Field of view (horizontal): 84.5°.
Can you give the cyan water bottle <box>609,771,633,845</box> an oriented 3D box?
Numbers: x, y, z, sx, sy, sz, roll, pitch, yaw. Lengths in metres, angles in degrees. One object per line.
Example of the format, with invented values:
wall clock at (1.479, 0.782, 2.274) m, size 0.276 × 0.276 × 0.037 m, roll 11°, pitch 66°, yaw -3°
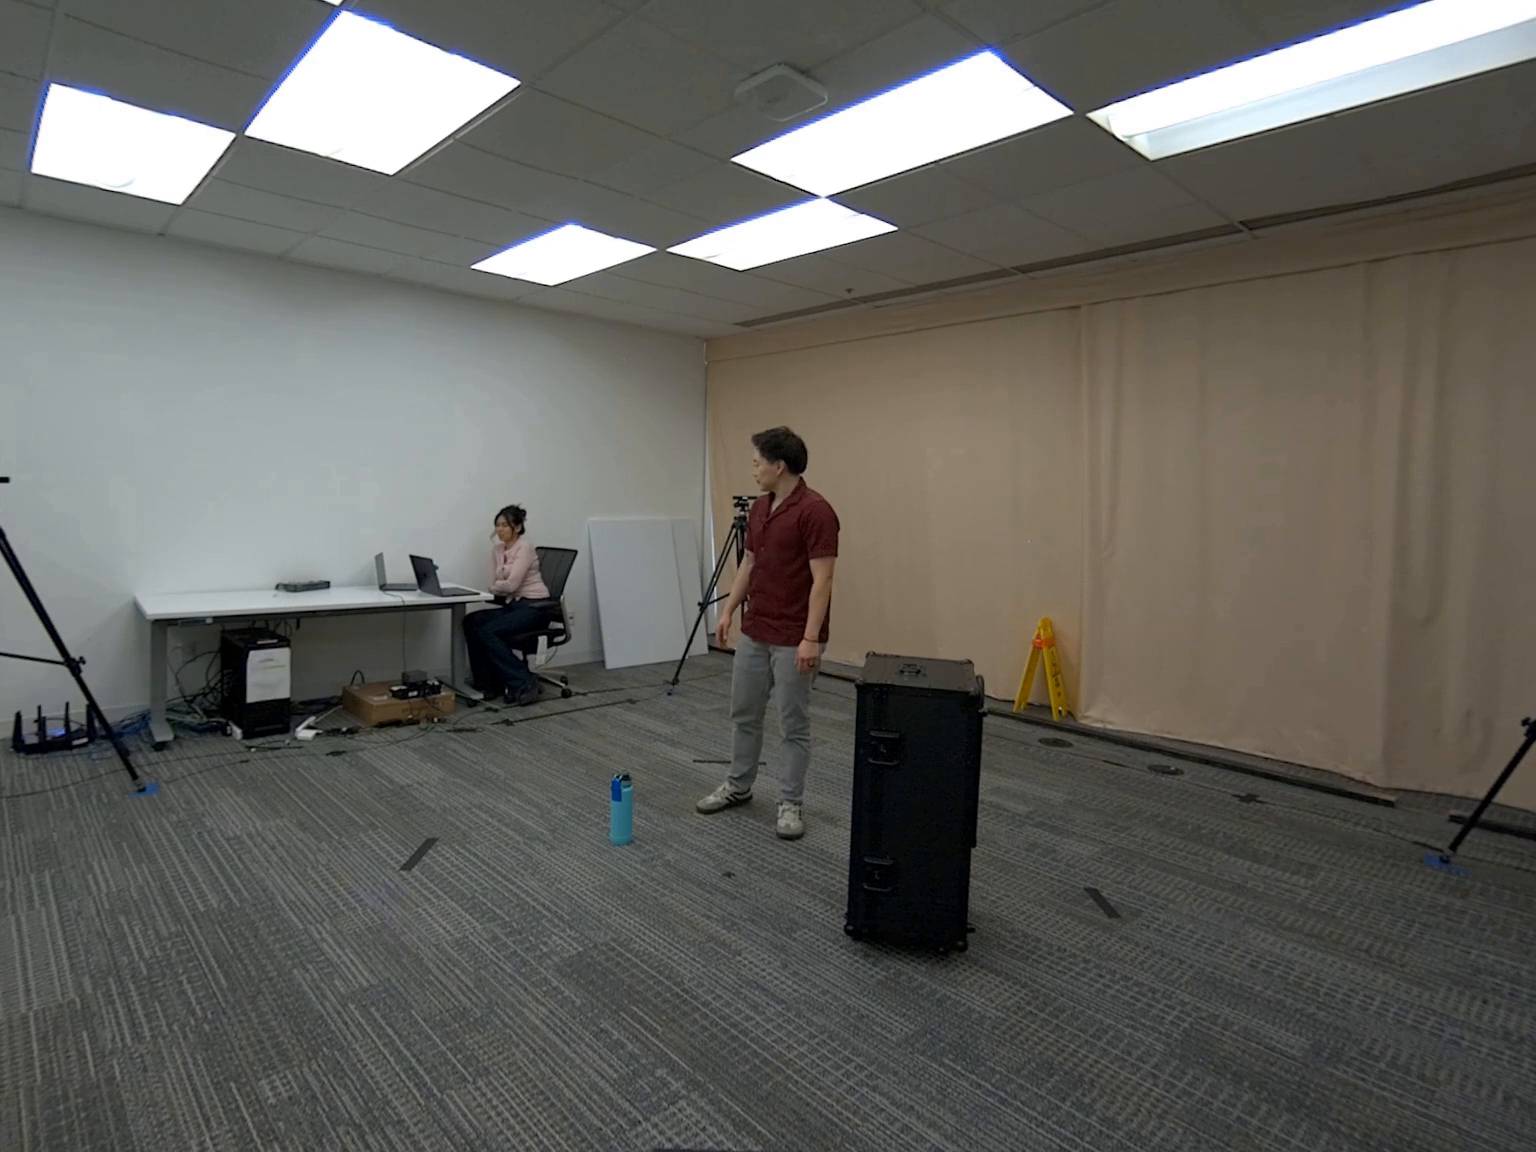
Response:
cyan water bottle at (-0.599, 0.927, 3.381) m, size 0.092 × 0.282 × 0.093 m, roll 2°, pitch 4°, yaw -2°
